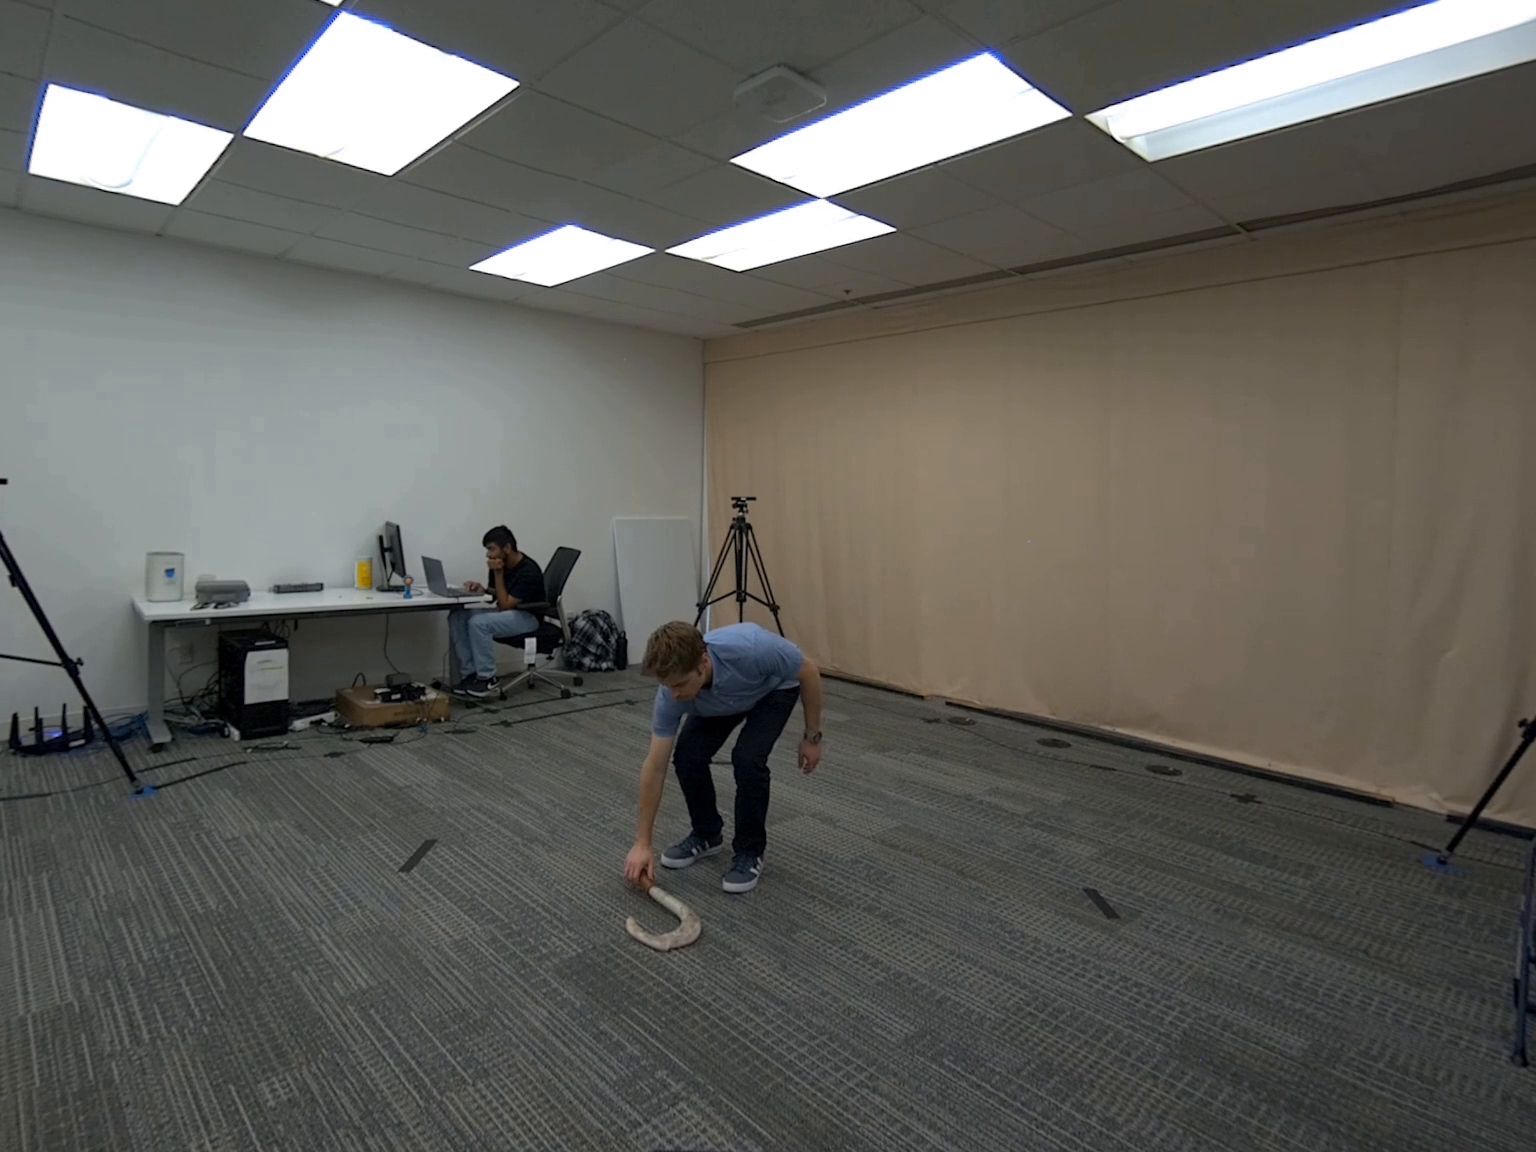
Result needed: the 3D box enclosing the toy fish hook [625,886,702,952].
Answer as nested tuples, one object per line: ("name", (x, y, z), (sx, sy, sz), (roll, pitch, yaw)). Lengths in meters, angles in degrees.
("toy fish hook", (-0.404, 1.086, 2.802), (0.220, 0.048, 0.519), (0, 9, -30))
